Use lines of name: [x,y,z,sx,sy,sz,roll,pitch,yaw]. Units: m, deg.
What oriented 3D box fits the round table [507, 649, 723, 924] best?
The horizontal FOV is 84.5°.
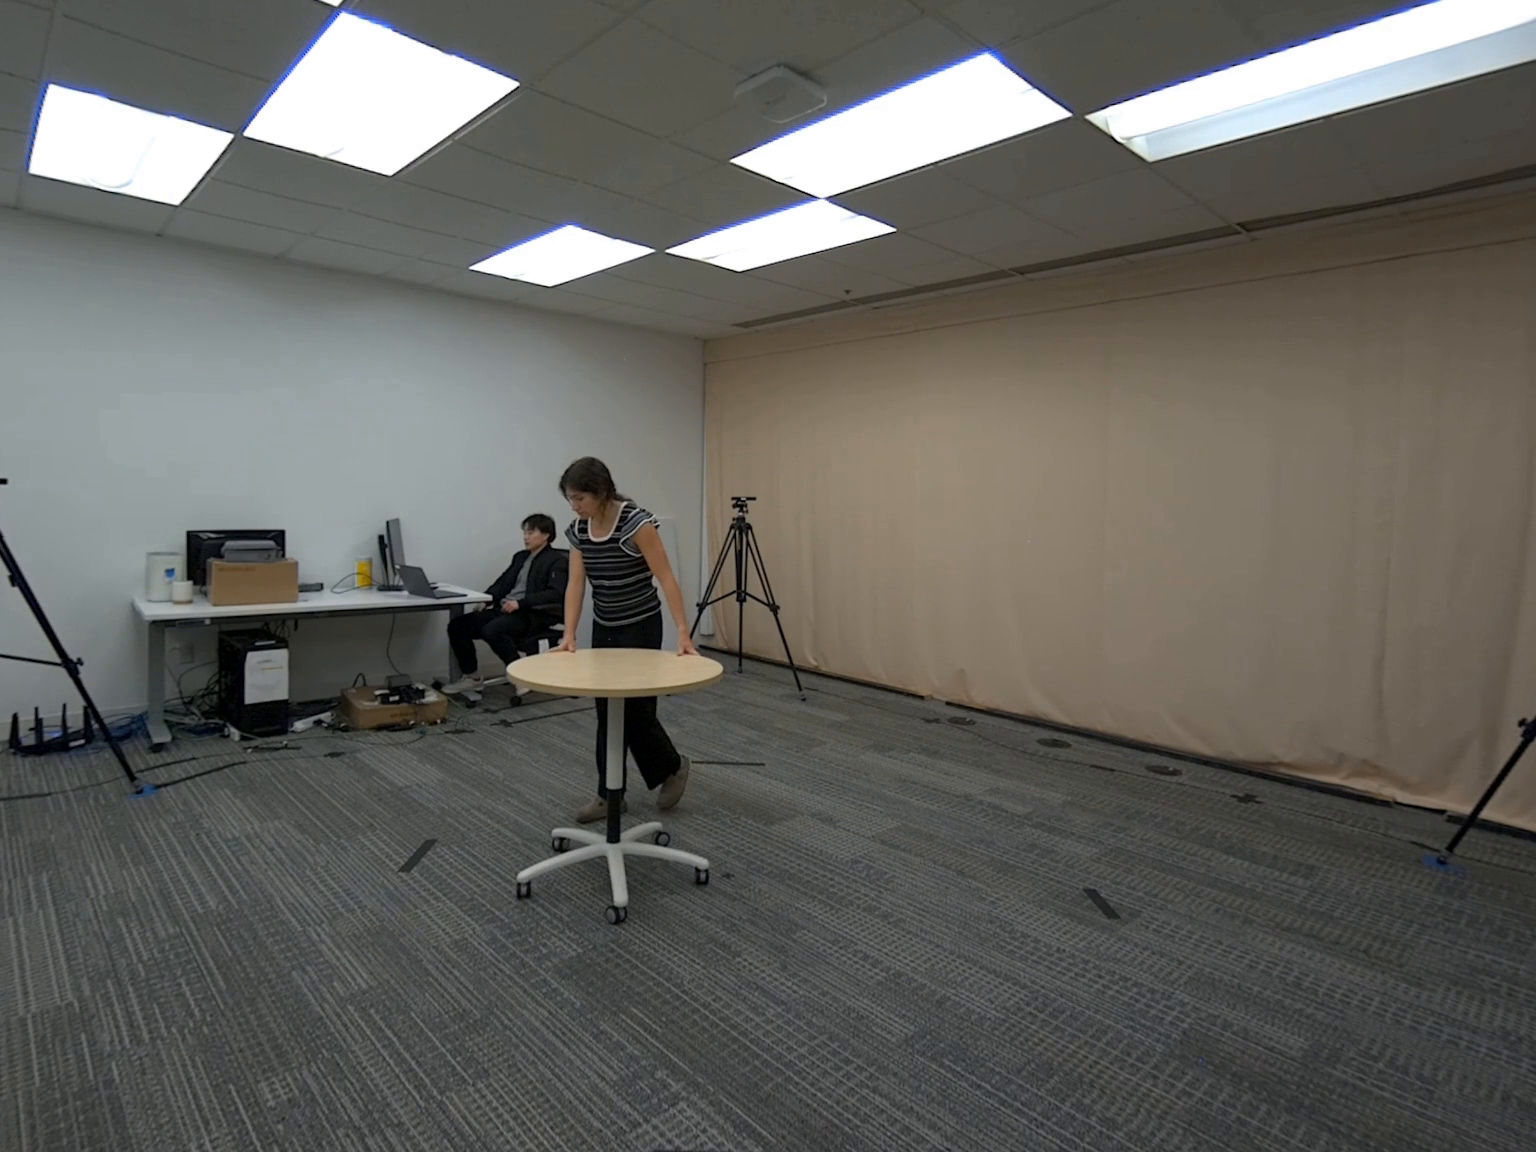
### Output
round table: [-0.557,0.719,3.034,0.763,0.792,0.766,1,4,-1]
